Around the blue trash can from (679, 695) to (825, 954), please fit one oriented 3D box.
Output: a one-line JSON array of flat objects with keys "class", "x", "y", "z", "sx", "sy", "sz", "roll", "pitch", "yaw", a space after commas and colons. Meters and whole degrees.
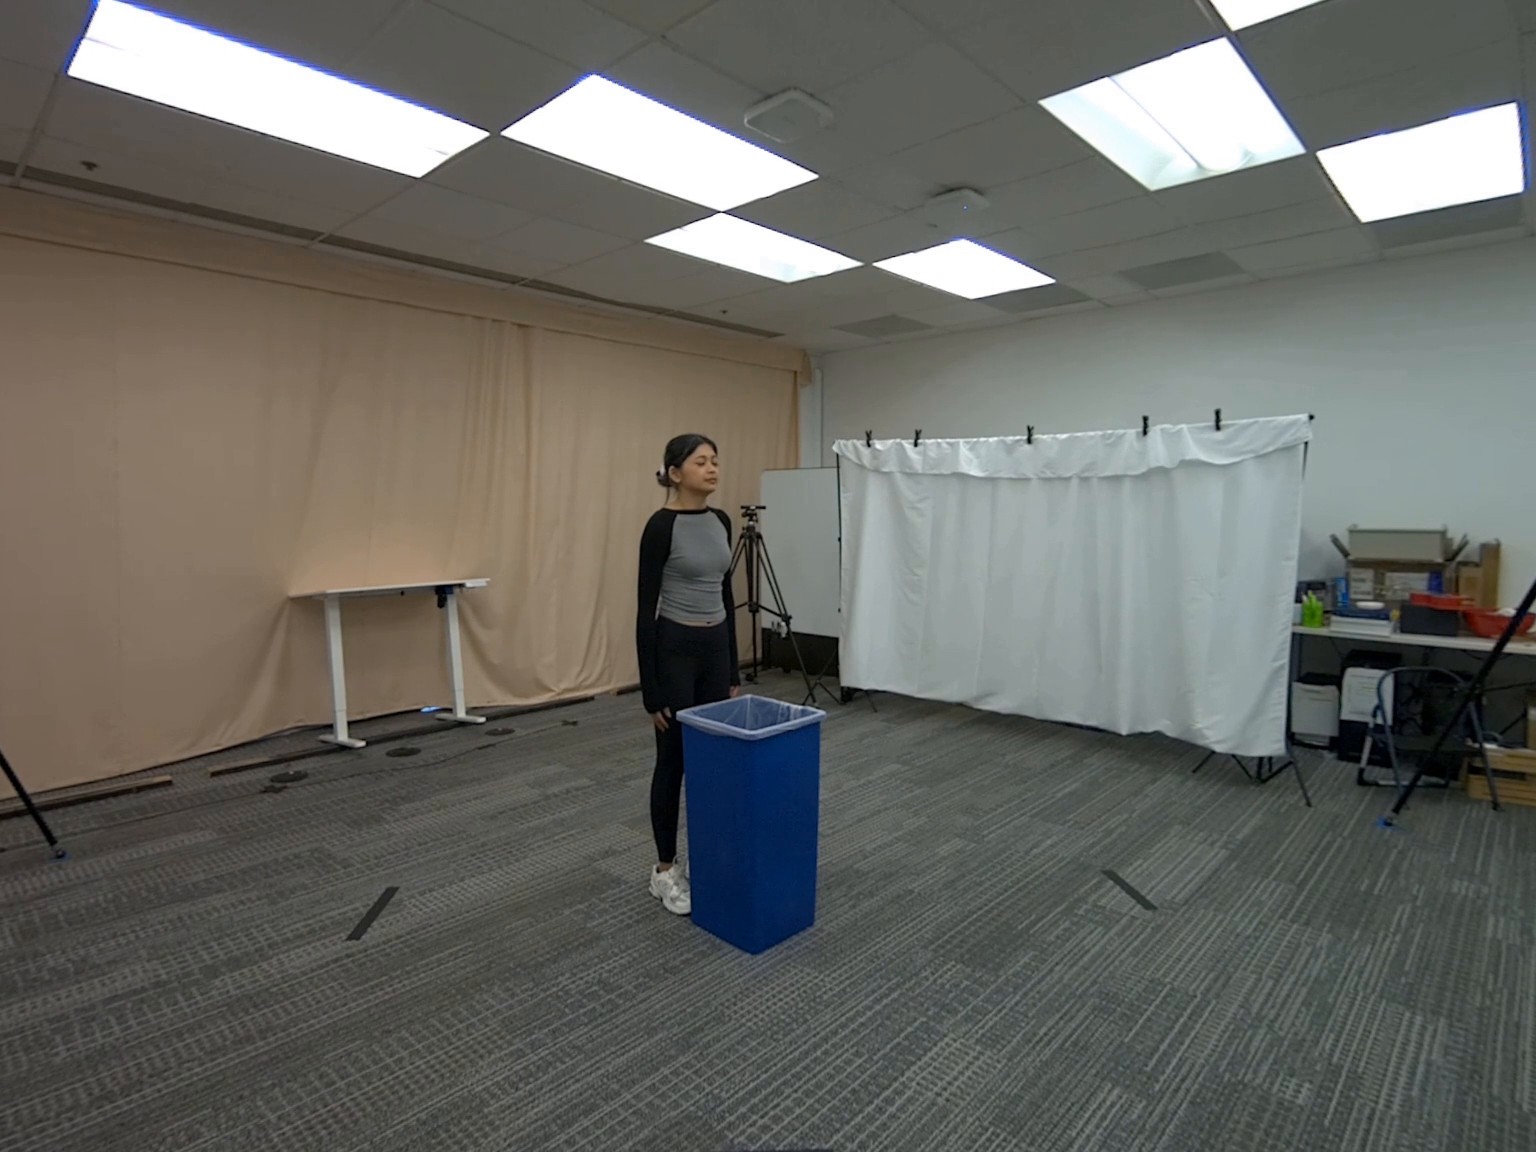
[{"class": "blue trash can", "x": -0.048, "y": 0.803, "z": 2.784, "sx": 0.391, "sy": 0.712, "sz": 0.362, "roll": 3, "pitch": 4, "yaw": 44}]
